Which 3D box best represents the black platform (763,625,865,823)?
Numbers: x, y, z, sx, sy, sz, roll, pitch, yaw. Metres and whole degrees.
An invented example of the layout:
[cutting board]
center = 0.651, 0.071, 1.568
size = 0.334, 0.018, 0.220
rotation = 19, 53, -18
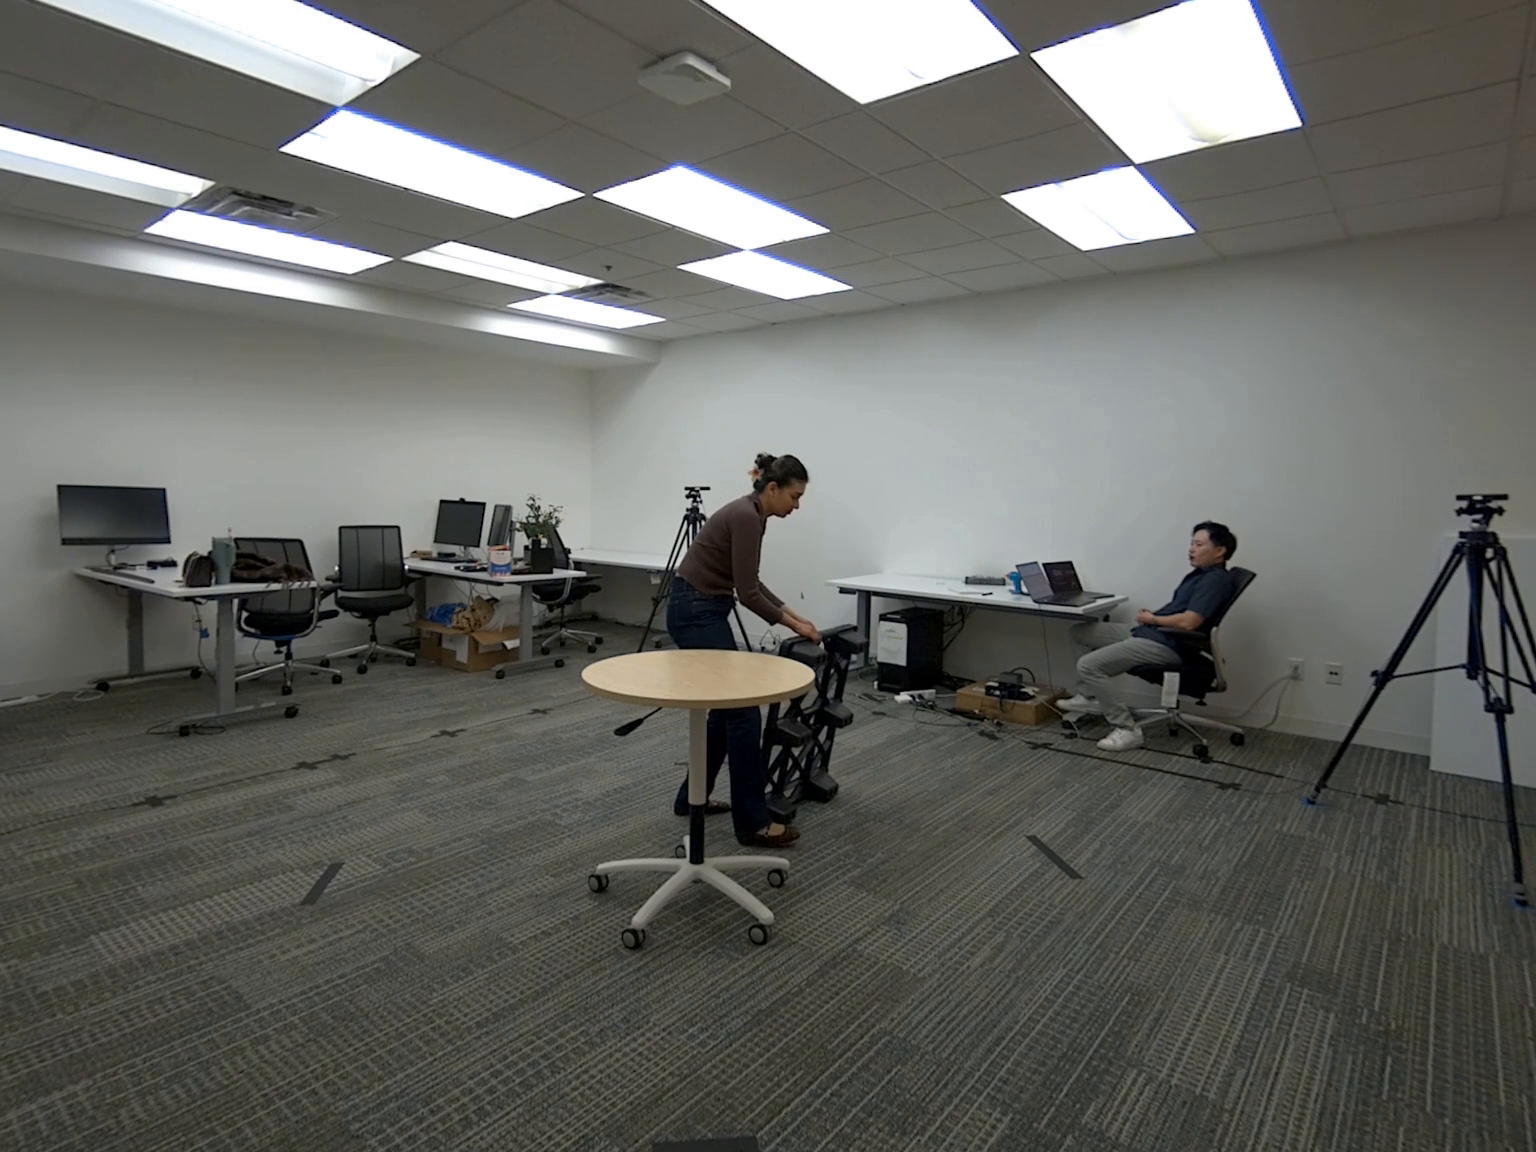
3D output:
[black platform]
center = 0.187, 0.632, 3.647
size = 0.148, 0.800, 0.588
rotation = 16, 11, 32
